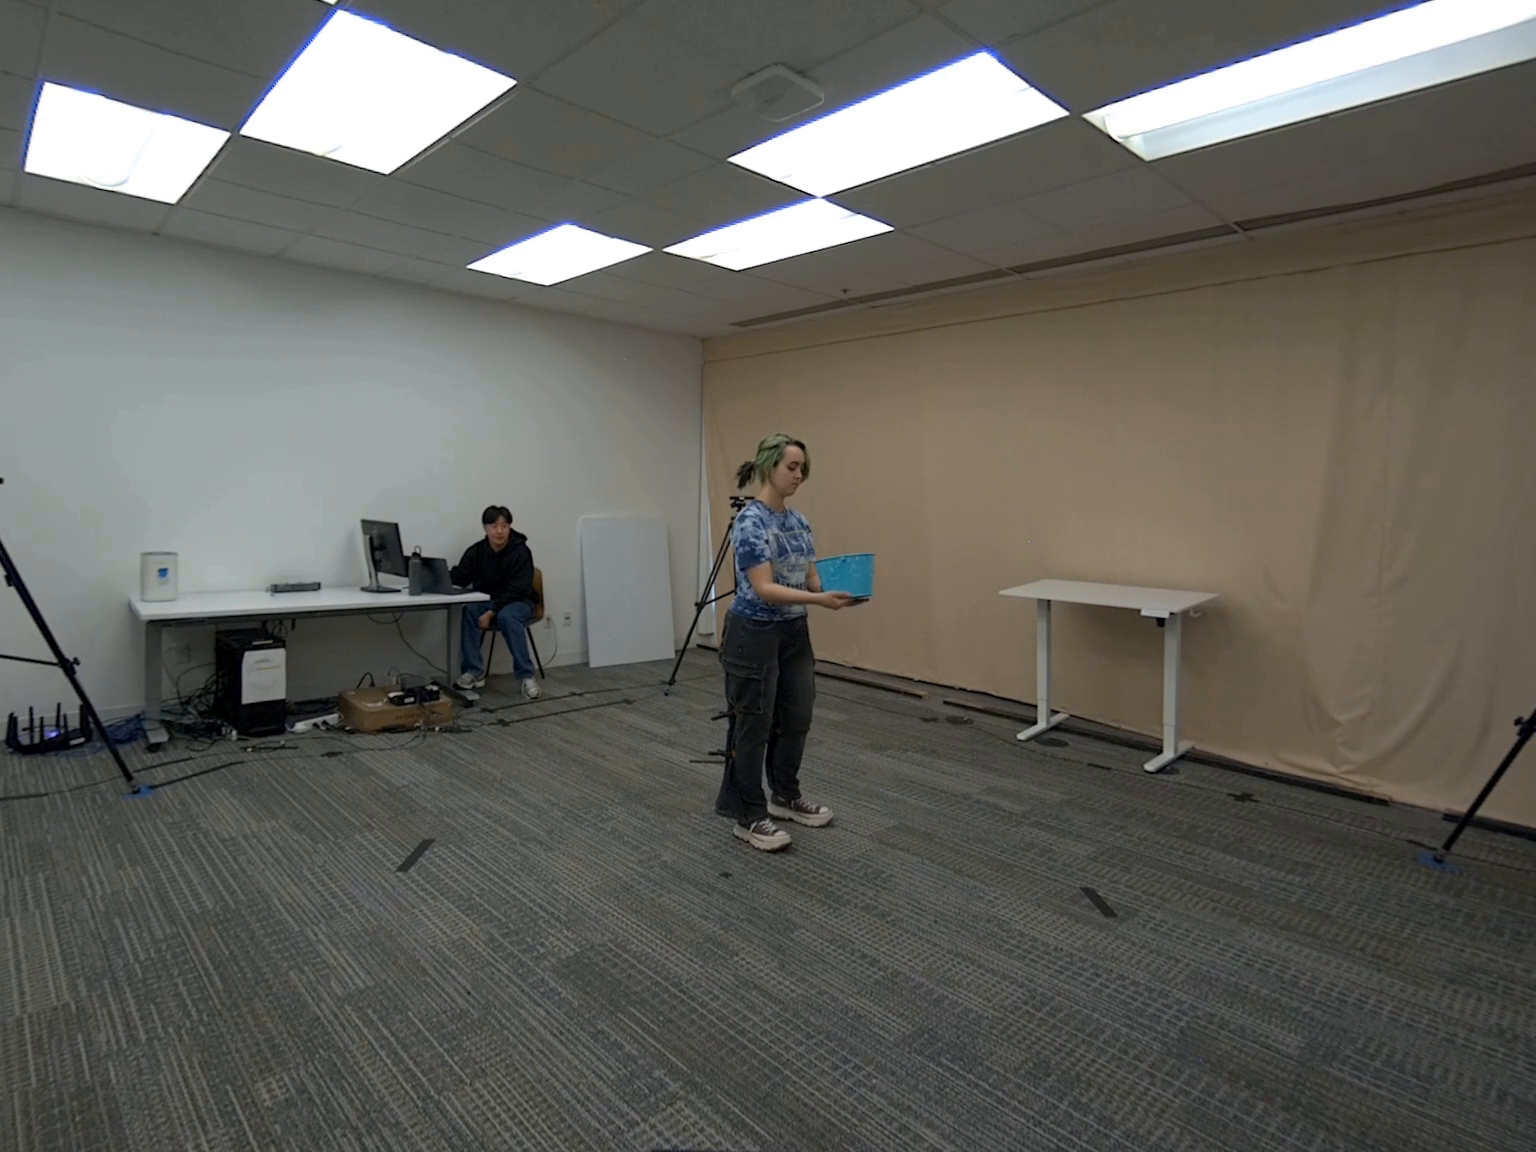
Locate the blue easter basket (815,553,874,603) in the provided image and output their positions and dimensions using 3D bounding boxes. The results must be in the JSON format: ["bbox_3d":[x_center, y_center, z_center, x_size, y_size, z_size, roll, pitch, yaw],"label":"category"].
[{"bbox_3d":[0.283,0.009,3.179,0.243,0.156,0.243,-6,-3,-2],"label":"blue easter basket"}]
